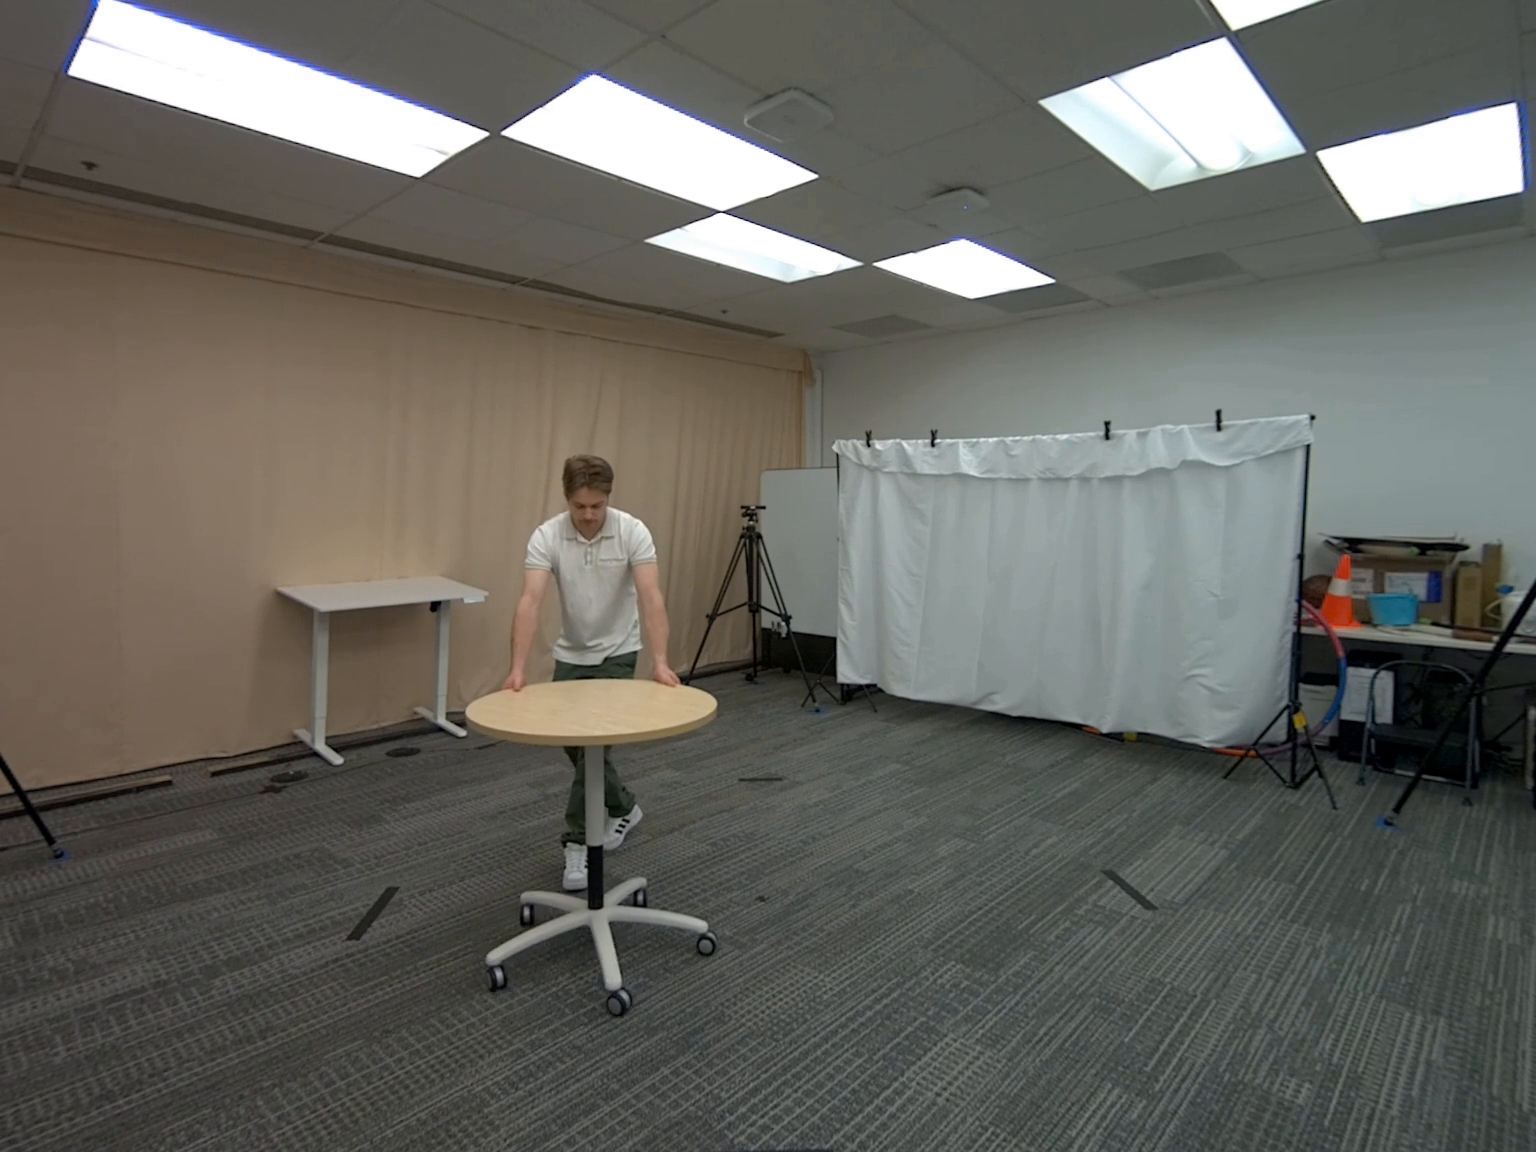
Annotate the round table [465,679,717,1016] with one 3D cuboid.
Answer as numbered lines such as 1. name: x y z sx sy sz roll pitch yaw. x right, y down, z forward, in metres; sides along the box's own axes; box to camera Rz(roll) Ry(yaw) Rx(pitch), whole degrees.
1. round table: -0.539 0.784 2.633 0.784 0.785 0.787 0 3 -2
